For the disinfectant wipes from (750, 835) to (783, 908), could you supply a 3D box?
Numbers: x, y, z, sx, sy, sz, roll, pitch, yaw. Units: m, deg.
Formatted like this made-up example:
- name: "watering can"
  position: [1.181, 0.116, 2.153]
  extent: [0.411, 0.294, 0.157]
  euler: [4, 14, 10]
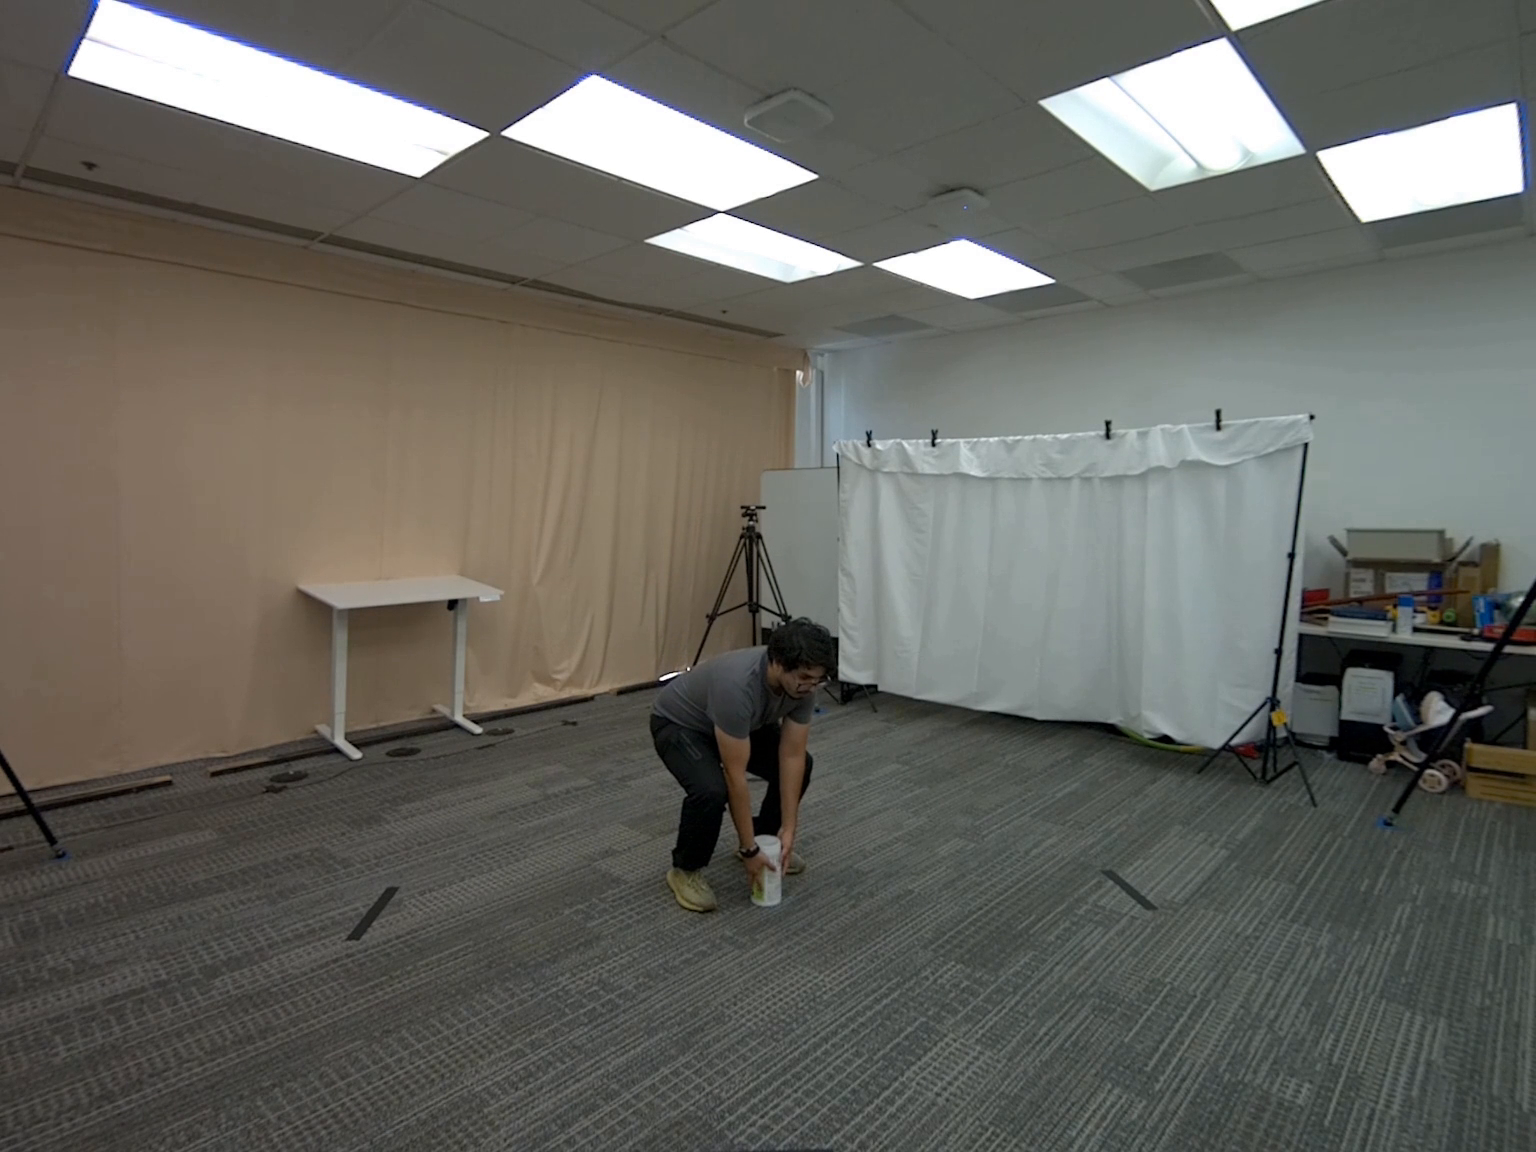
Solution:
- name: "disinfectant wipes"
  position: [-0.005, 1.036, 2.962]
  extent: [0.118, 0.217, 0.118]
  euler: [0, 2, -2]
